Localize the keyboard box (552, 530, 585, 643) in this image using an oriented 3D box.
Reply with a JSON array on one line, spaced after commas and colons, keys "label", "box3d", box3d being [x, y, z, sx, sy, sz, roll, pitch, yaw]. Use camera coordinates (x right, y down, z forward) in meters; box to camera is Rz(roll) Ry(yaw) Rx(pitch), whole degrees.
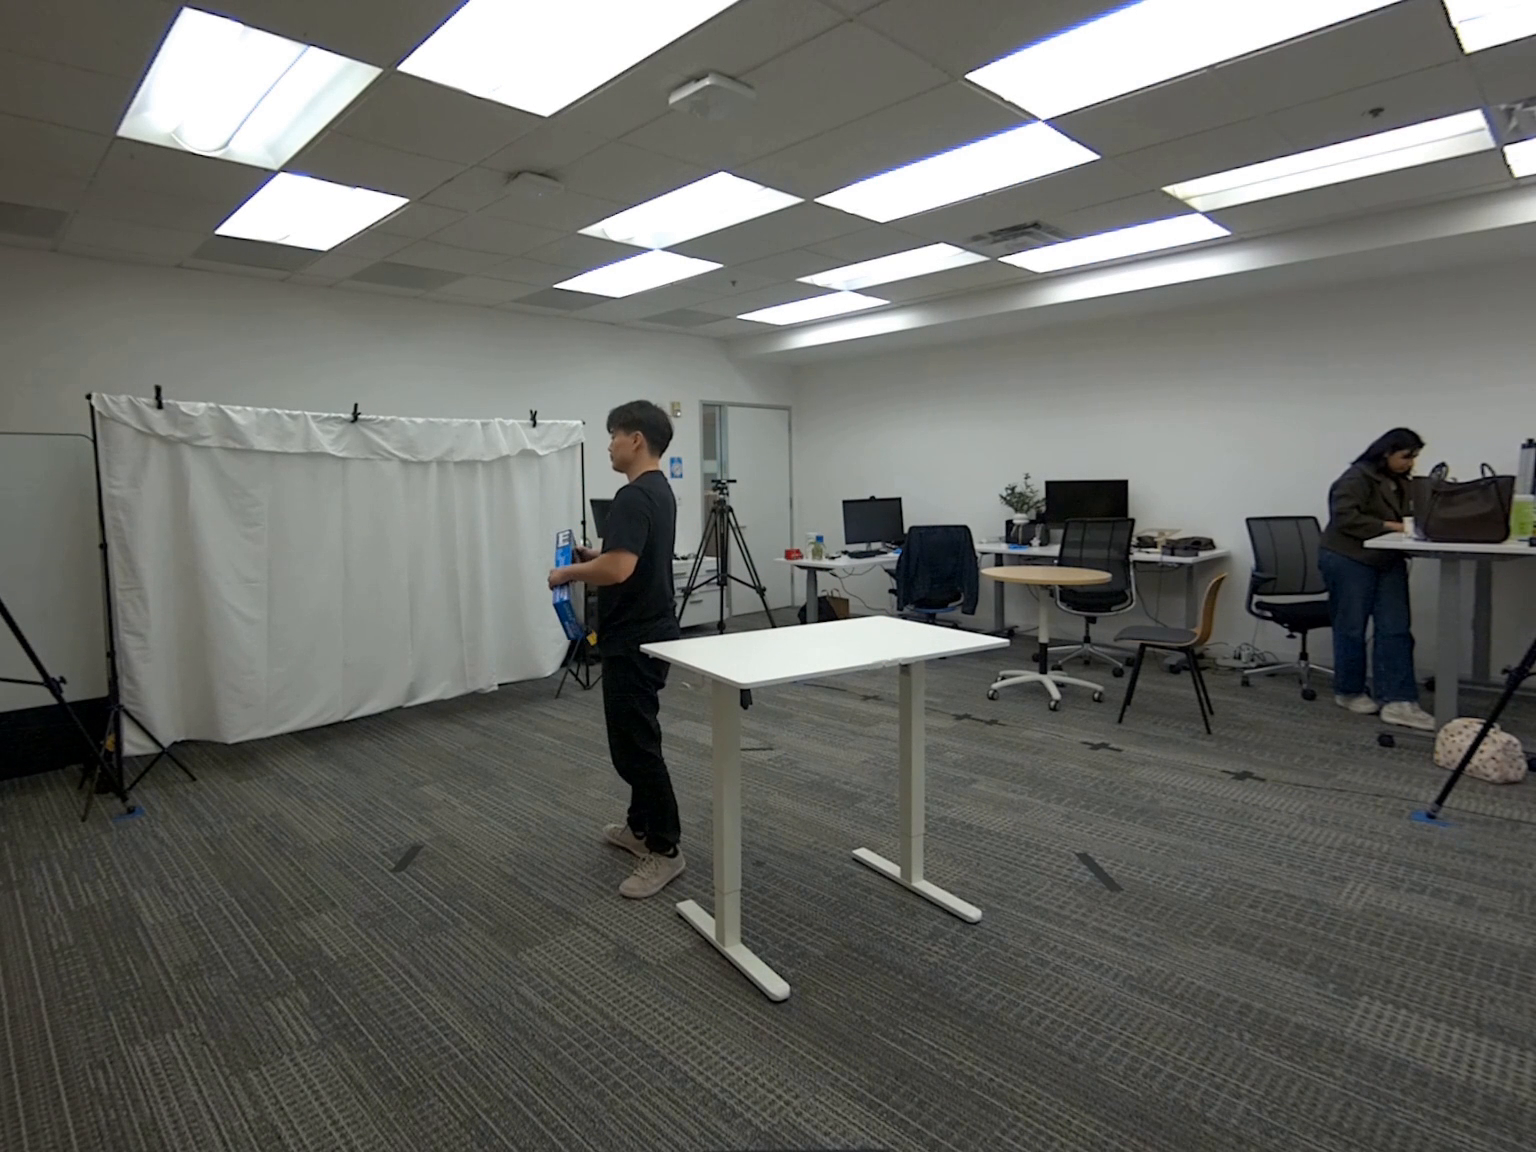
[{"label": "keyboard box", "box3d": [-0.712, 0.021, 3.101, 0.059, 0.170, 0.451, -14, 36, -2]}]
